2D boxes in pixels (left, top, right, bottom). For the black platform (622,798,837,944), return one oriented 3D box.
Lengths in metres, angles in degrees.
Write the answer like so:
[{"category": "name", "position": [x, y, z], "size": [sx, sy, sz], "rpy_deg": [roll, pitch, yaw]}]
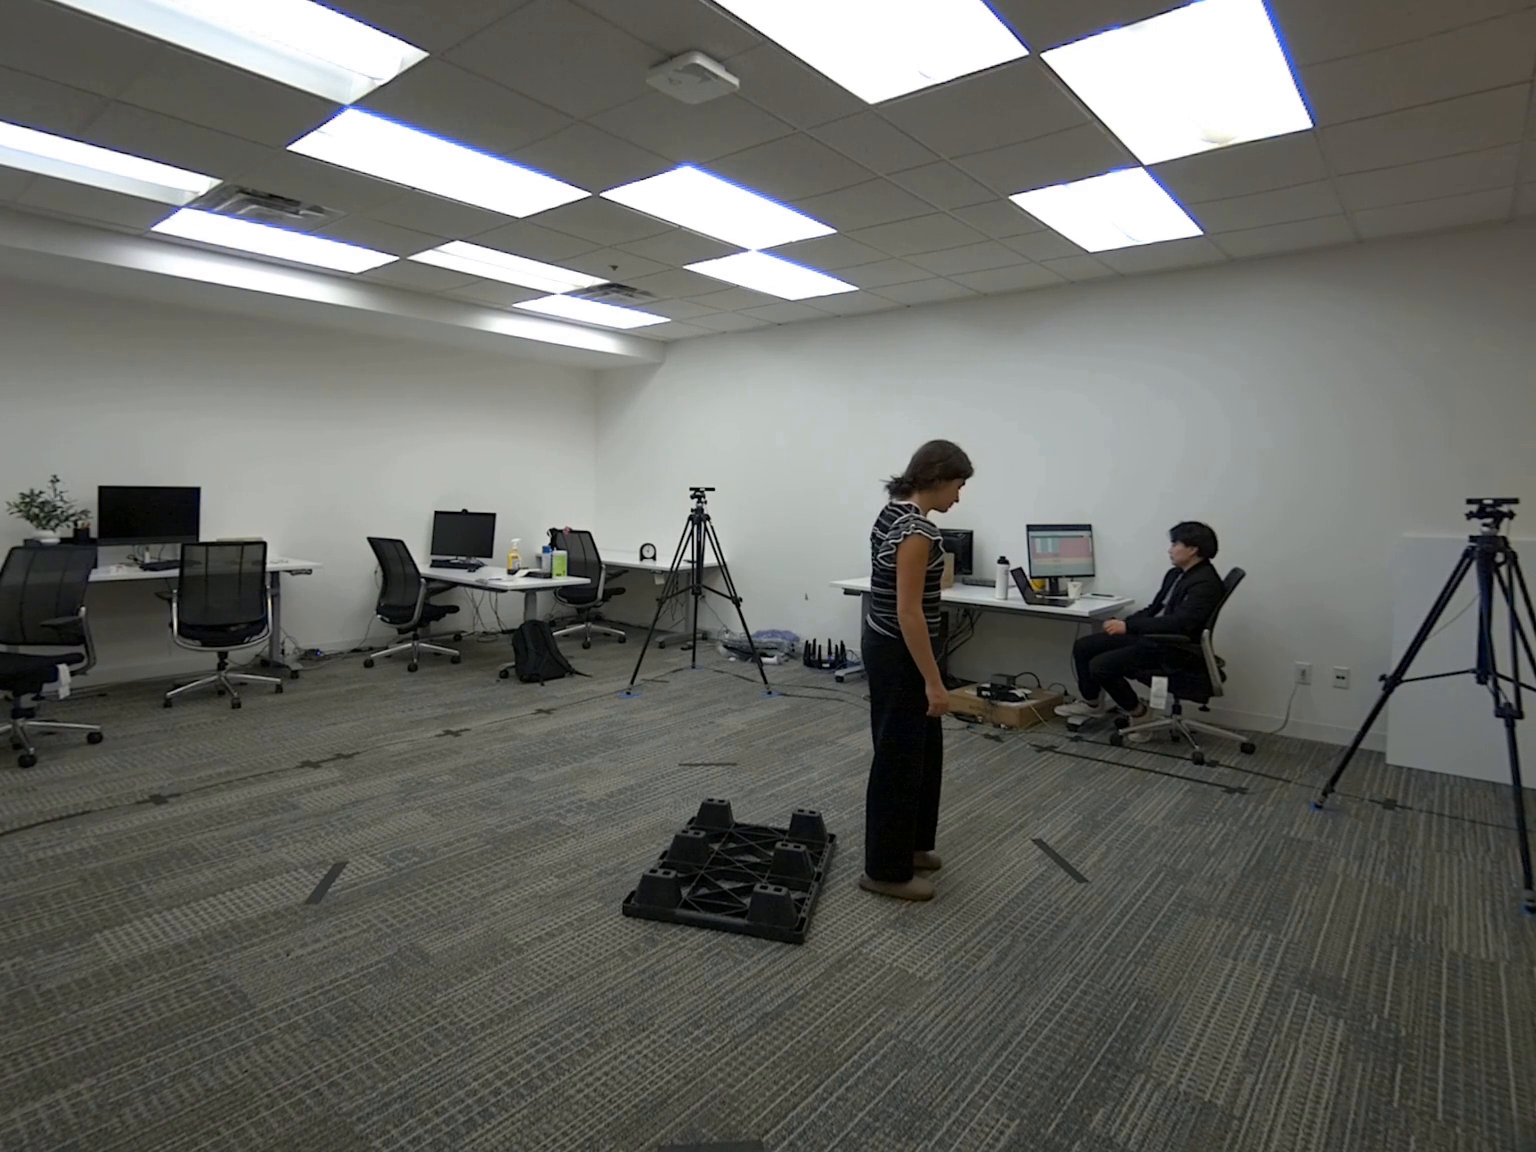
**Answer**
[{"category": "black platform", "position": [-0.113, 1.007, 3.056], "size": [0.615, 0.143, 0.796], "rpy_deg": [3, 6, 13]}]
